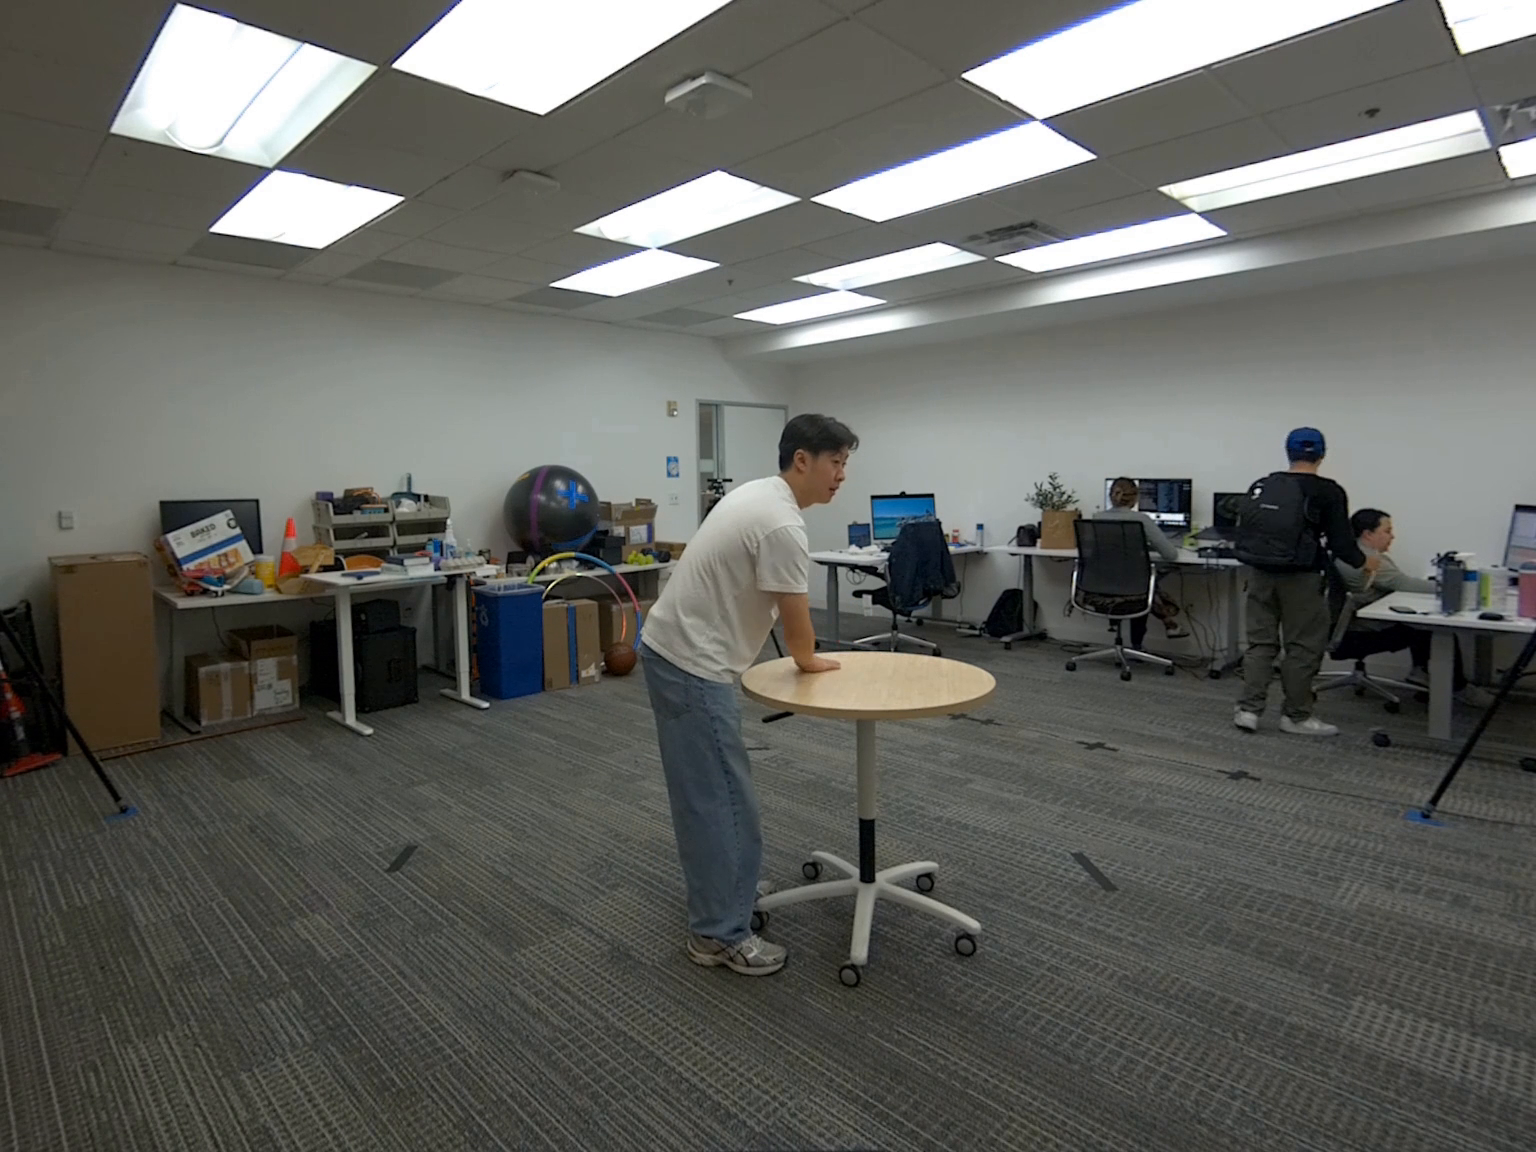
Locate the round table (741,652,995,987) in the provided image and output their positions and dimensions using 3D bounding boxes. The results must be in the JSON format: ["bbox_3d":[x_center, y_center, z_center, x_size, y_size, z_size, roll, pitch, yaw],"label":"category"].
[{"bbox_3d":[0.308,0.698,2.660,0.763,0.791,0.768,-1,5,-2],"label":"round table"}]
